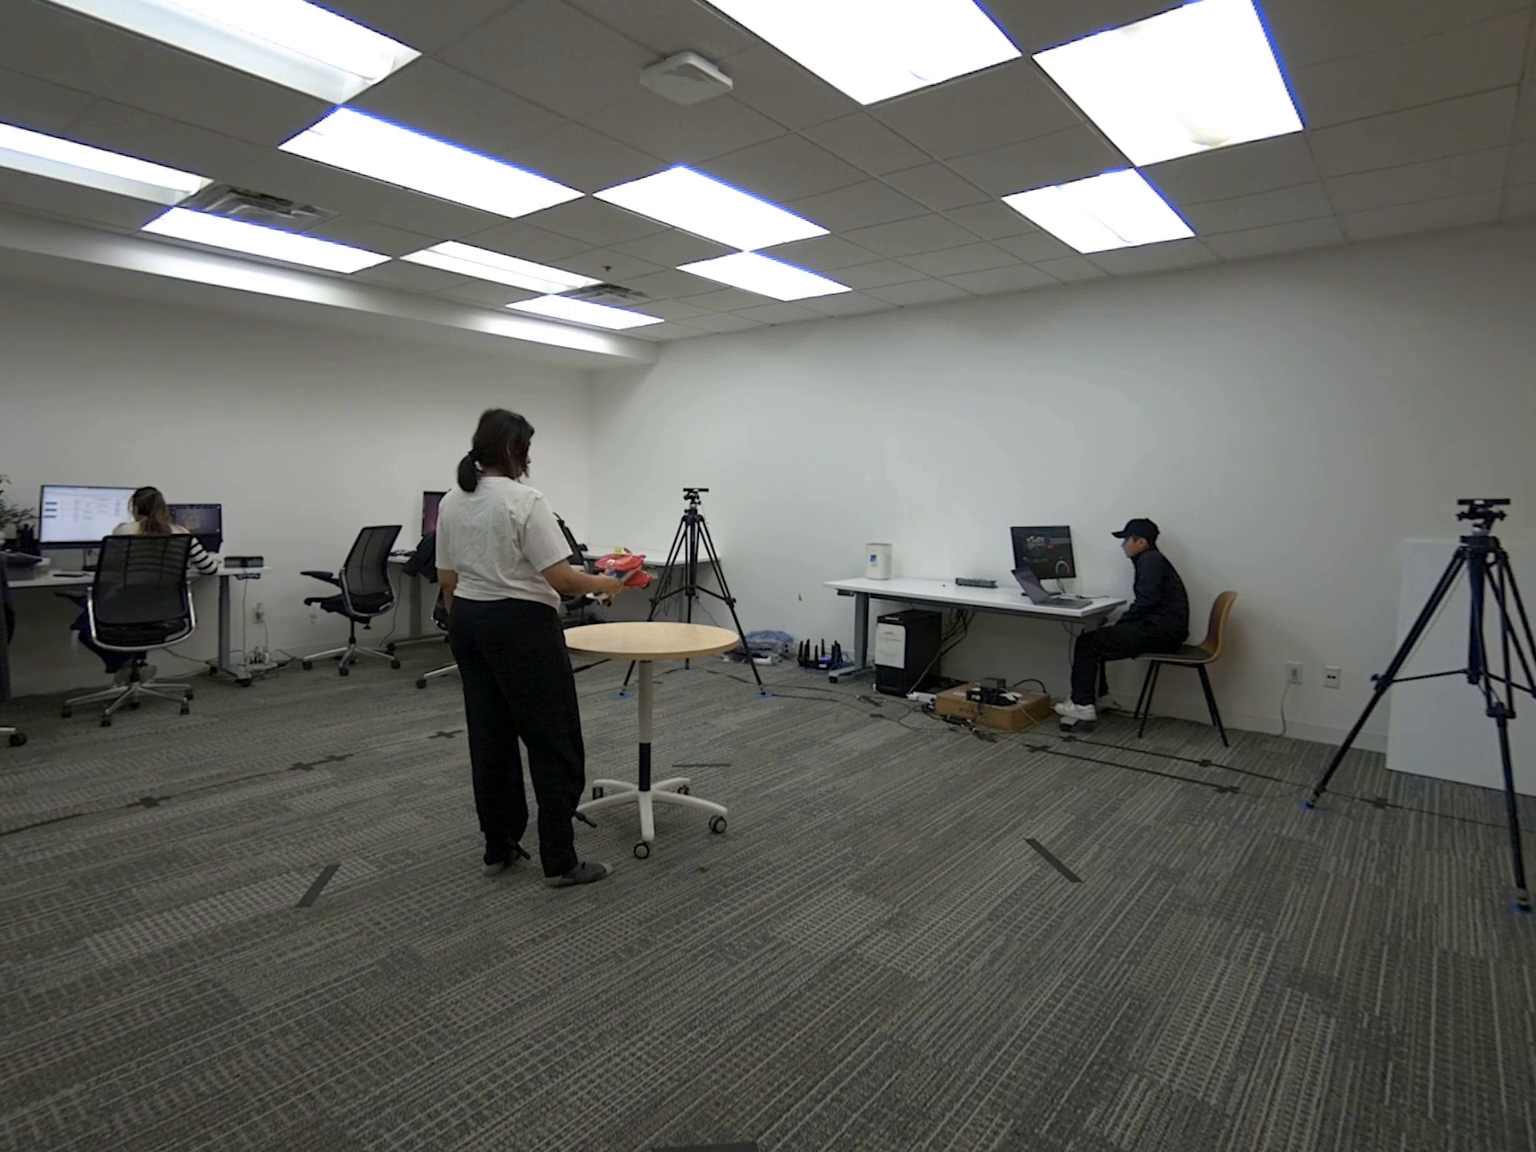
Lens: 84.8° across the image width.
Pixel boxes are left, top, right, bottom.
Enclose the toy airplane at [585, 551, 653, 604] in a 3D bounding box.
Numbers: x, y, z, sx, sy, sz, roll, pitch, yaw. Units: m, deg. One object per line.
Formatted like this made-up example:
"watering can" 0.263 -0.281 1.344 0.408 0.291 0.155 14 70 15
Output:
"toy airplane" -0.582 0.012 3.310 0.255 0.153 0.260 -6 19 17
